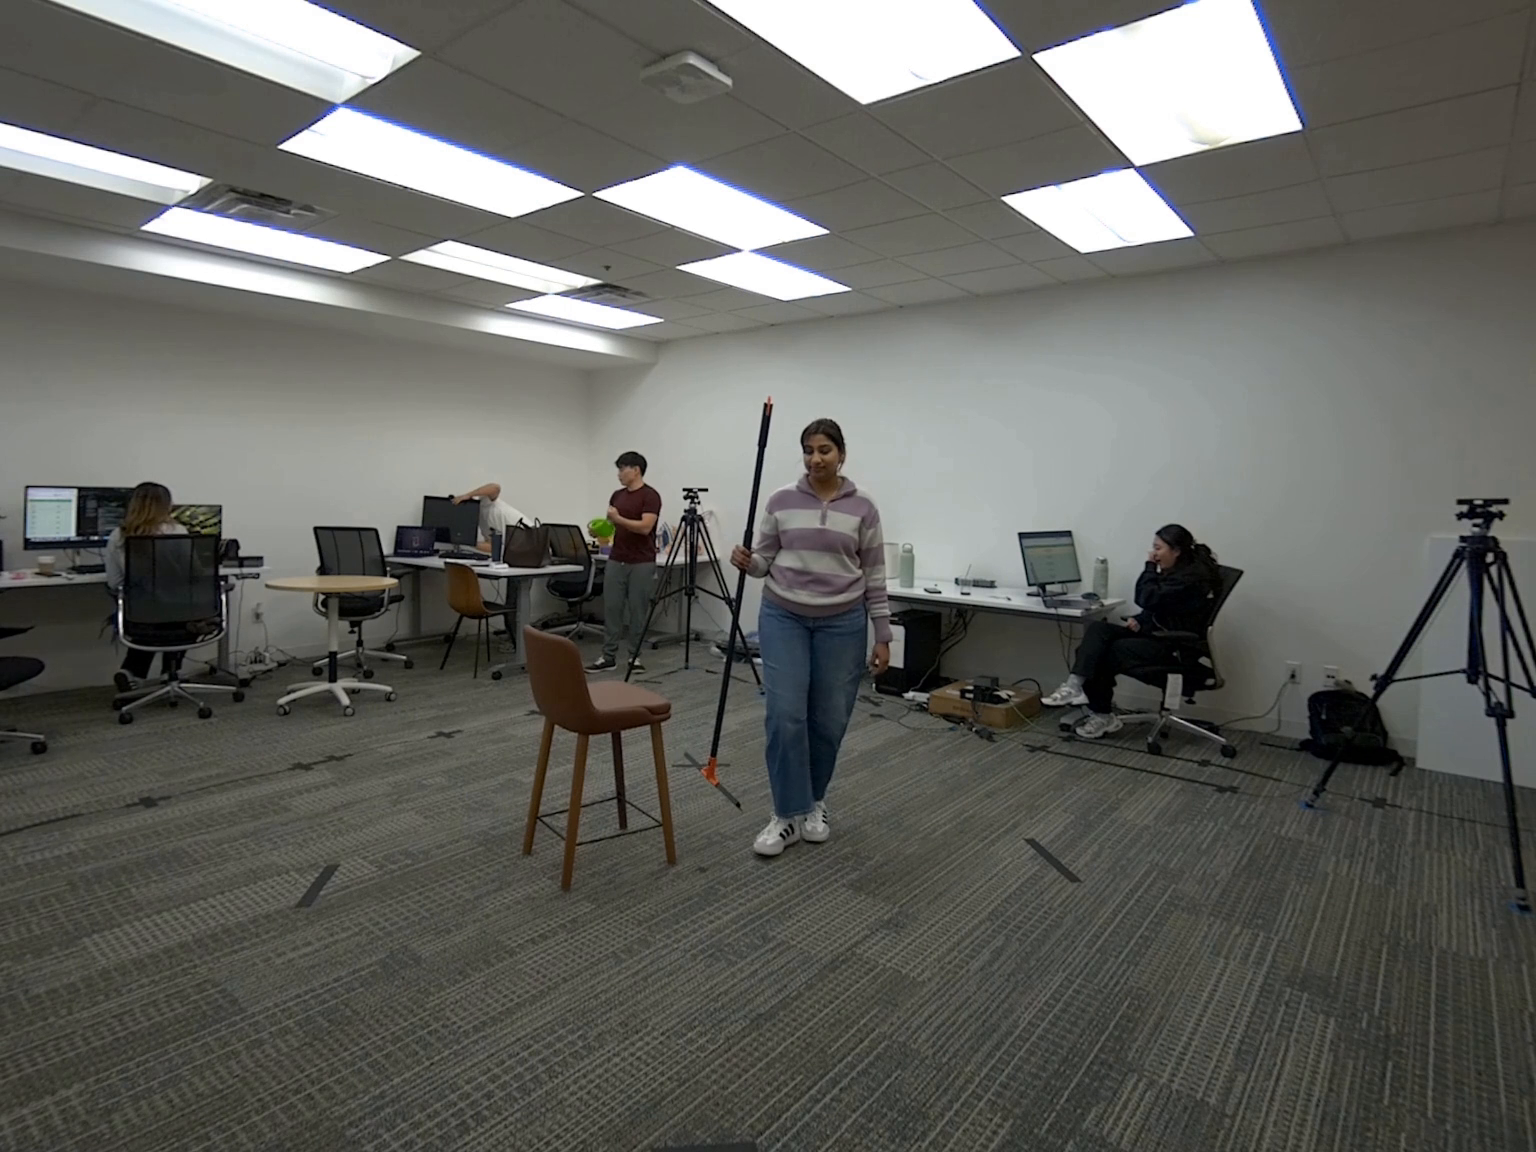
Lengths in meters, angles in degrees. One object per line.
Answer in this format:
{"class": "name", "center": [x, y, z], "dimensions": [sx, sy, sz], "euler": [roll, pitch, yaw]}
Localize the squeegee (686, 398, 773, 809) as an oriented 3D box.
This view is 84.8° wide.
{"class": "squeegee", "center": [-0.128, 0.089, 3.252], "dimensions": [0.051, 1.528, 0.455], "euler": [4, 10, -38]}
